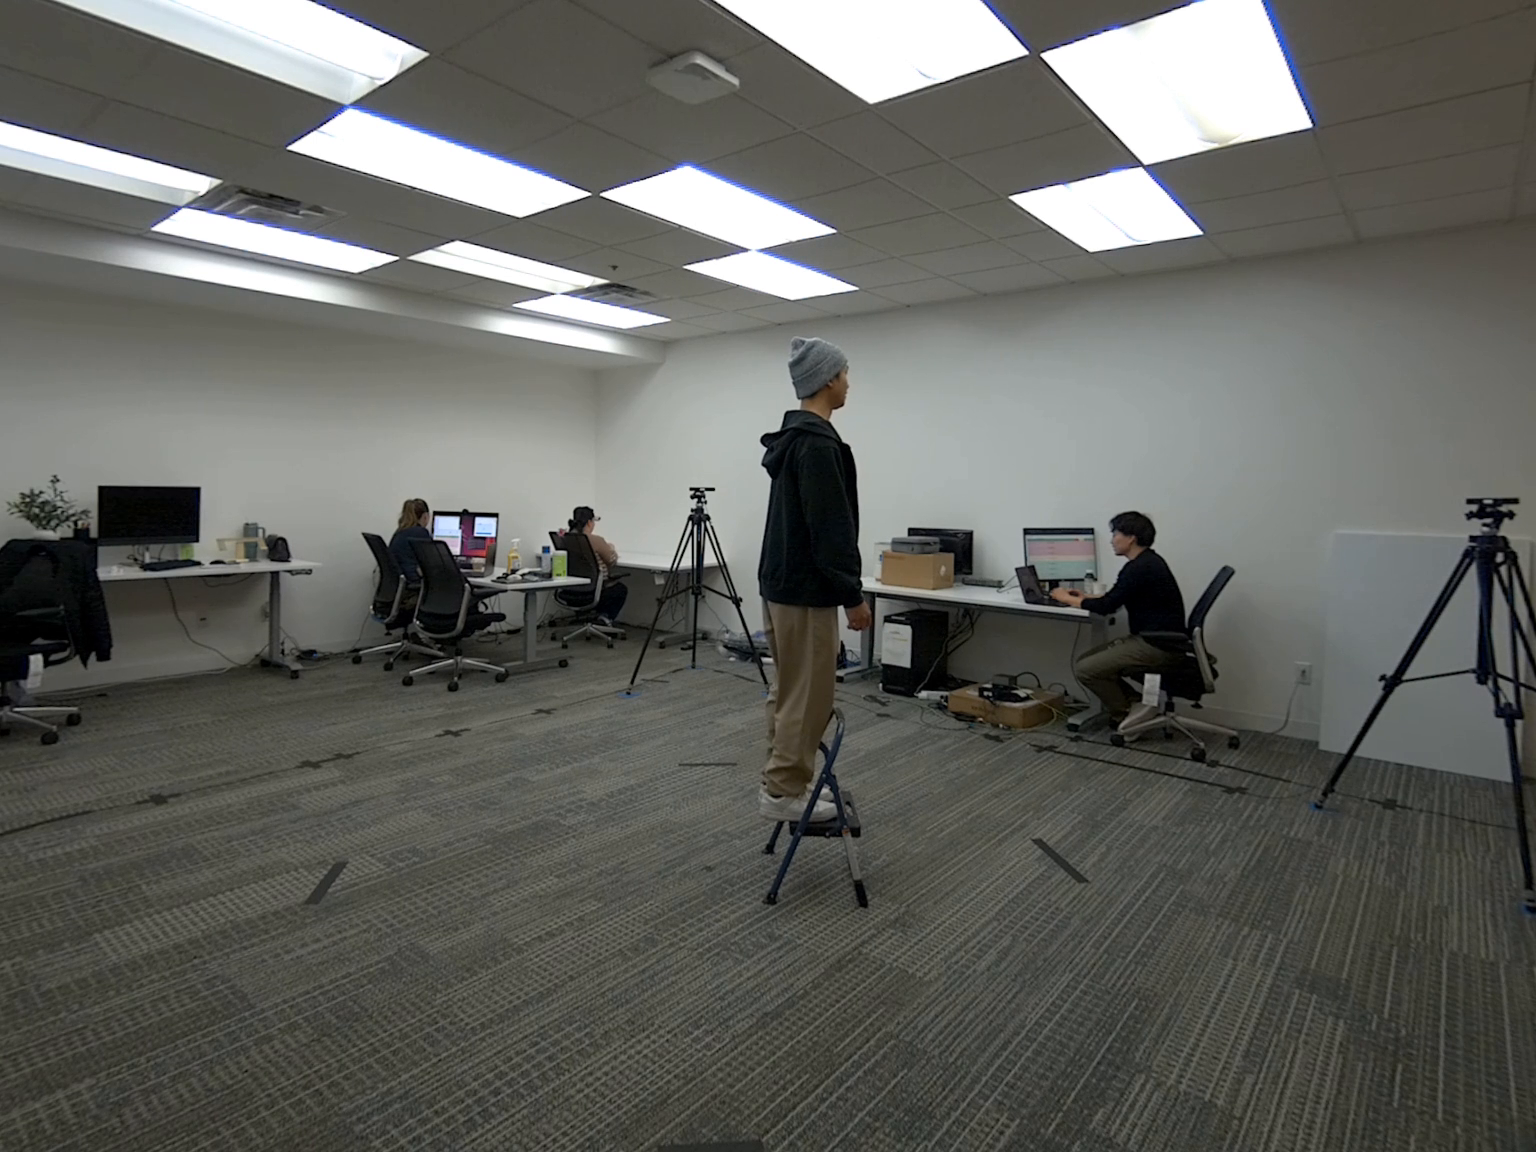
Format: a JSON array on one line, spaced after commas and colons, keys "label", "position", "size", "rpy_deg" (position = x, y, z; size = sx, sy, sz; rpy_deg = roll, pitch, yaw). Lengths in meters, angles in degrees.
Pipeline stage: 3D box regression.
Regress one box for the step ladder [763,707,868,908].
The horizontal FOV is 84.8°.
[{"label": "step ladder", "position": [0.161, 0.785, 3.040], "size": [0.350, 0.604, 0.431], "rpy_deg": [0, 3, 0]}]
